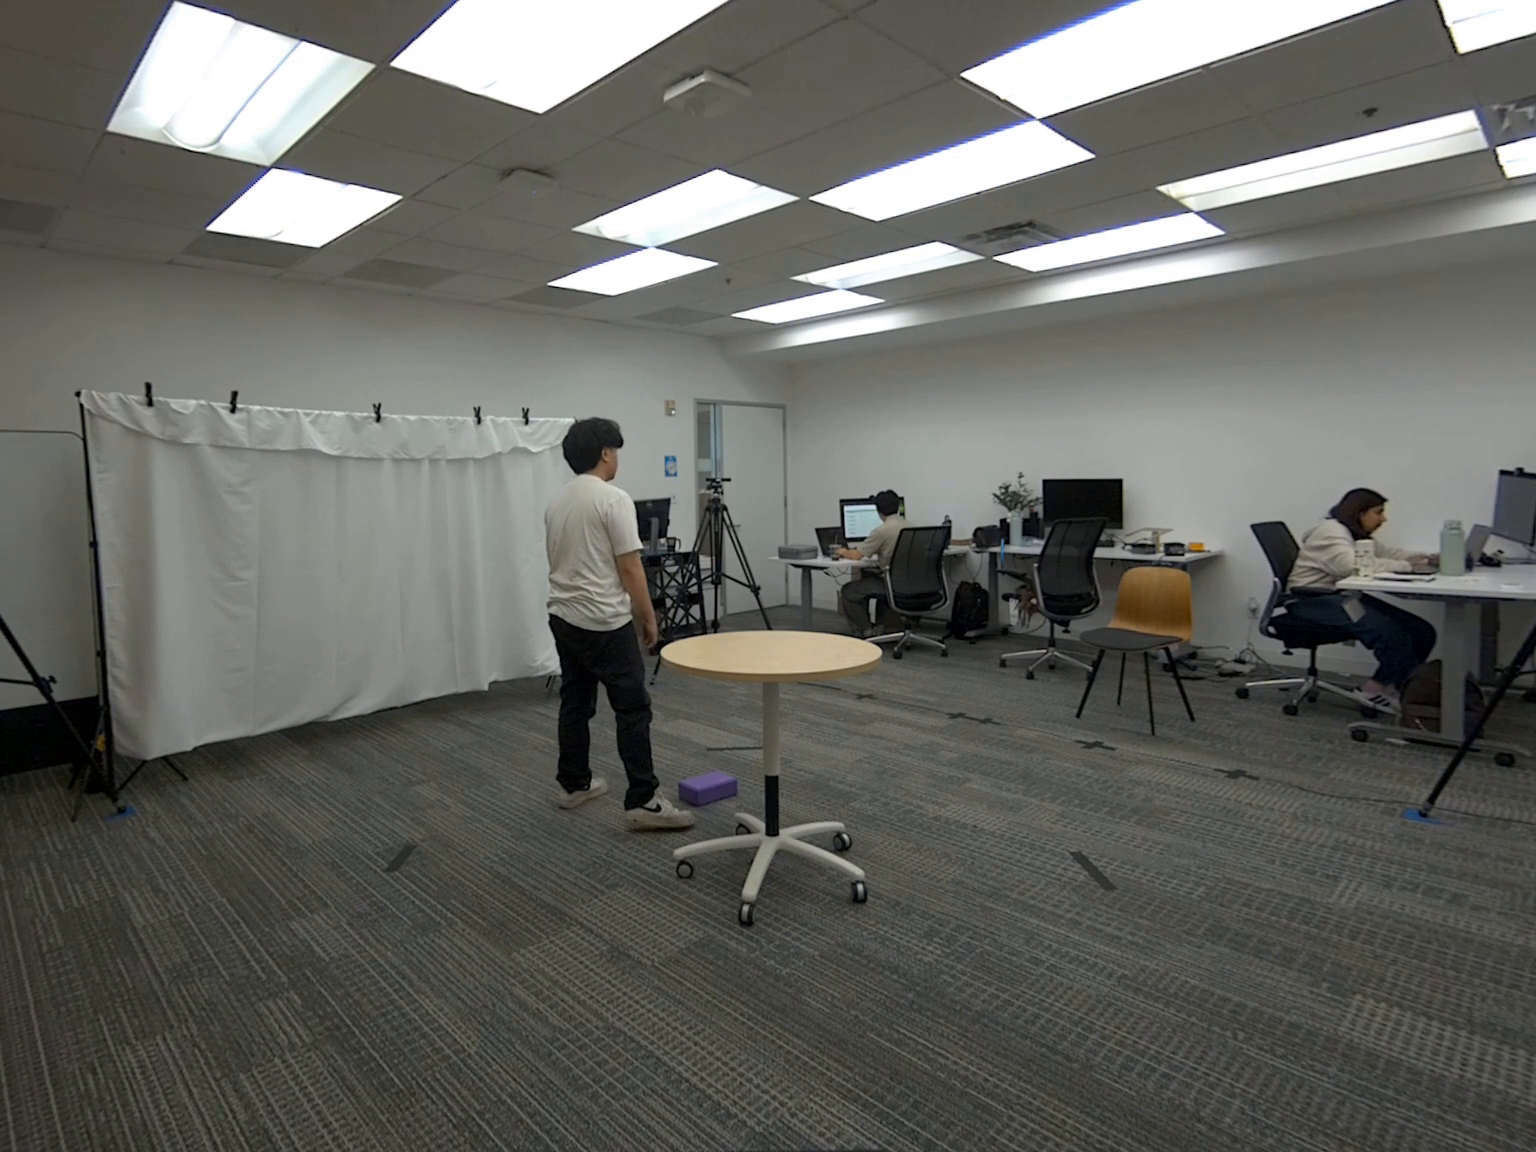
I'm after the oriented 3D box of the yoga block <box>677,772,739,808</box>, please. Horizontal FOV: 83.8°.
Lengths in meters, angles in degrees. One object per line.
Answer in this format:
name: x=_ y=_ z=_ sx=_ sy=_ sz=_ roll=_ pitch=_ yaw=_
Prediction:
yoga block: x=-0.265 y=0.931 z=3.760 sx=0.223 sy=0.076 sz=0.153 roll=-4 pitch=6 yaw=-40
